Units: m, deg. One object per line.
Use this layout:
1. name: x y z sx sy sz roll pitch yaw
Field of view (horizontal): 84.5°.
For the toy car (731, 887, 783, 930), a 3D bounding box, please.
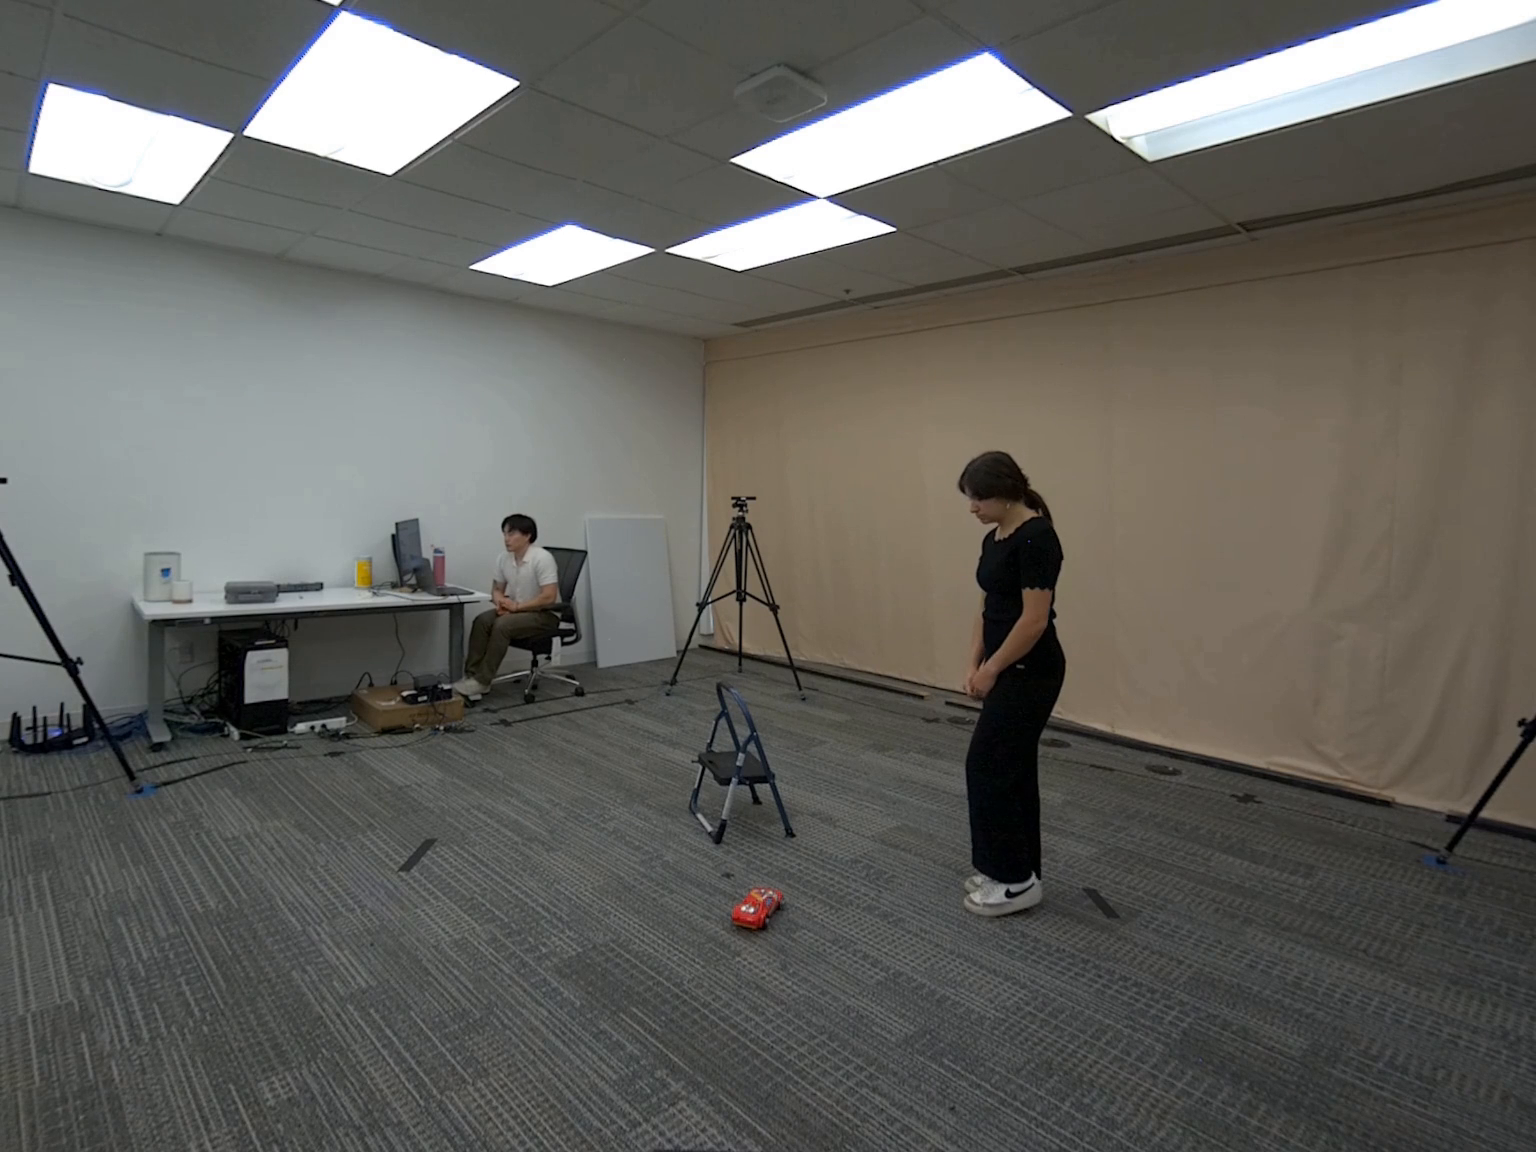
1. toy car: -0.047 1.111 2.783 0.132 0.083 0.249 6 -4 21
